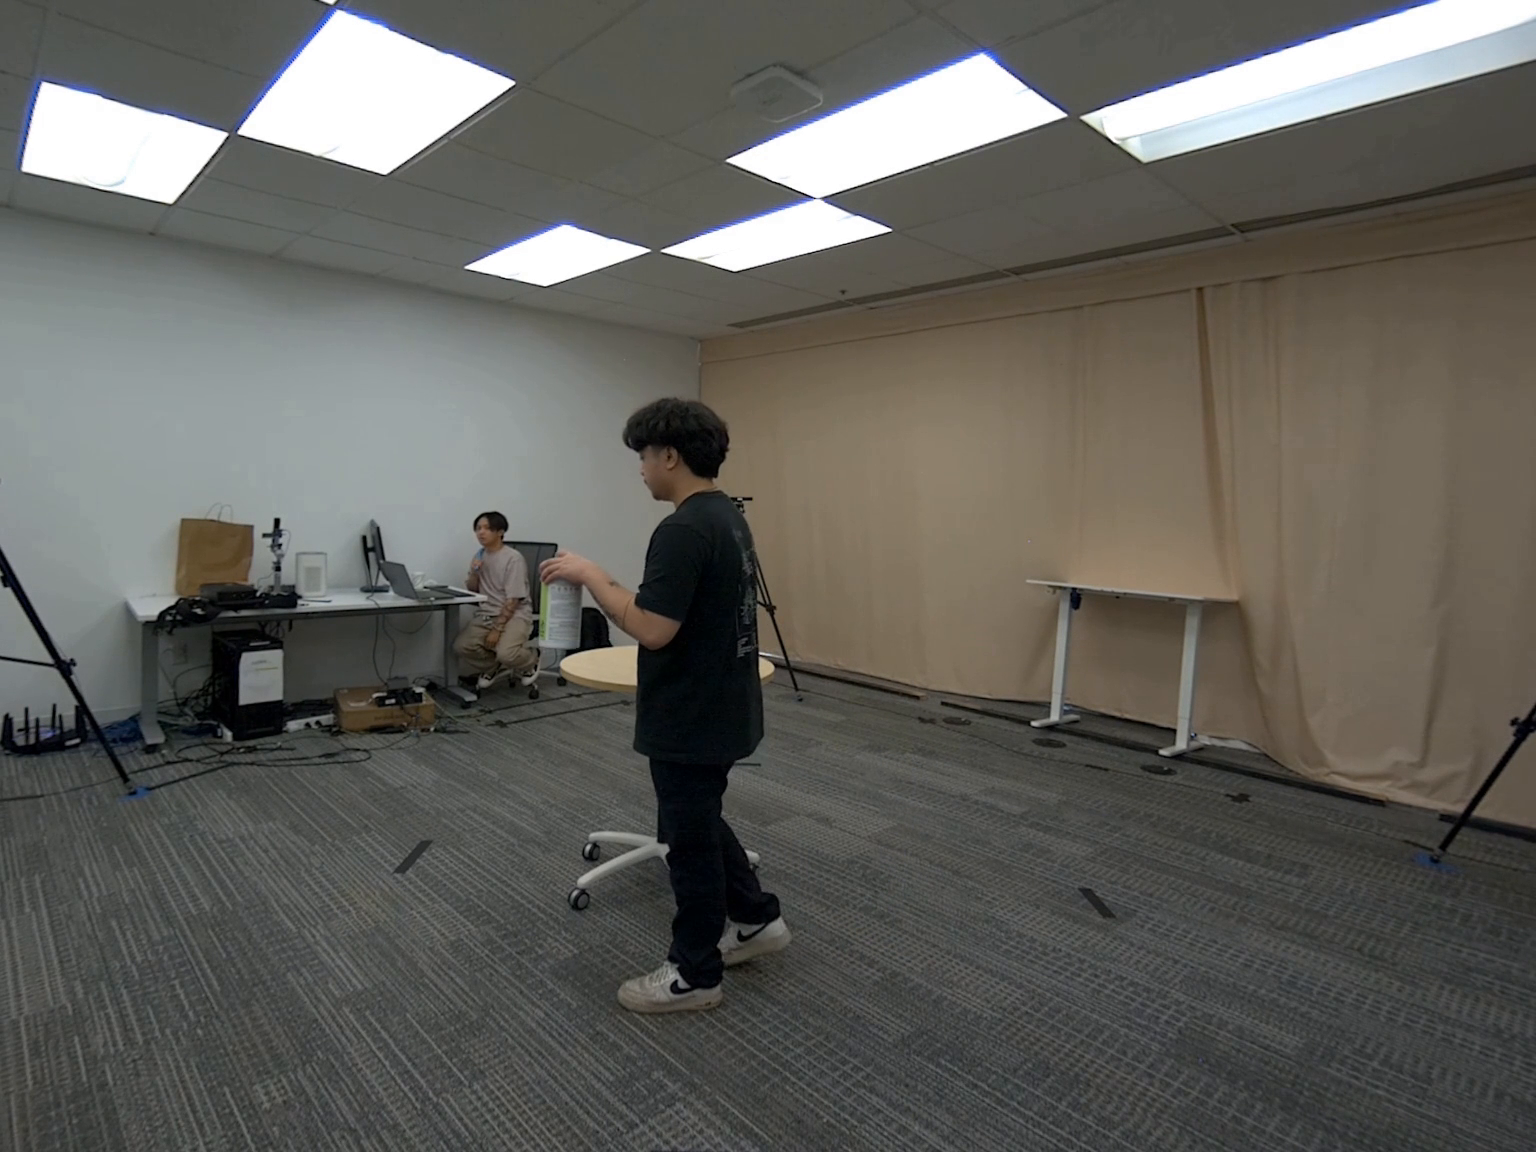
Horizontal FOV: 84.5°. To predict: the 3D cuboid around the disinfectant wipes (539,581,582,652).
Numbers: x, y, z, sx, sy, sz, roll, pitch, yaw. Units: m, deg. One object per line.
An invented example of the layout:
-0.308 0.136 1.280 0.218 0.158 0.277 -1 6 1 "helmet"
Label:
-0.545 0.085 2.232 0.118 0.217 0.118 2 2 -1 "disinfectant wipes"
